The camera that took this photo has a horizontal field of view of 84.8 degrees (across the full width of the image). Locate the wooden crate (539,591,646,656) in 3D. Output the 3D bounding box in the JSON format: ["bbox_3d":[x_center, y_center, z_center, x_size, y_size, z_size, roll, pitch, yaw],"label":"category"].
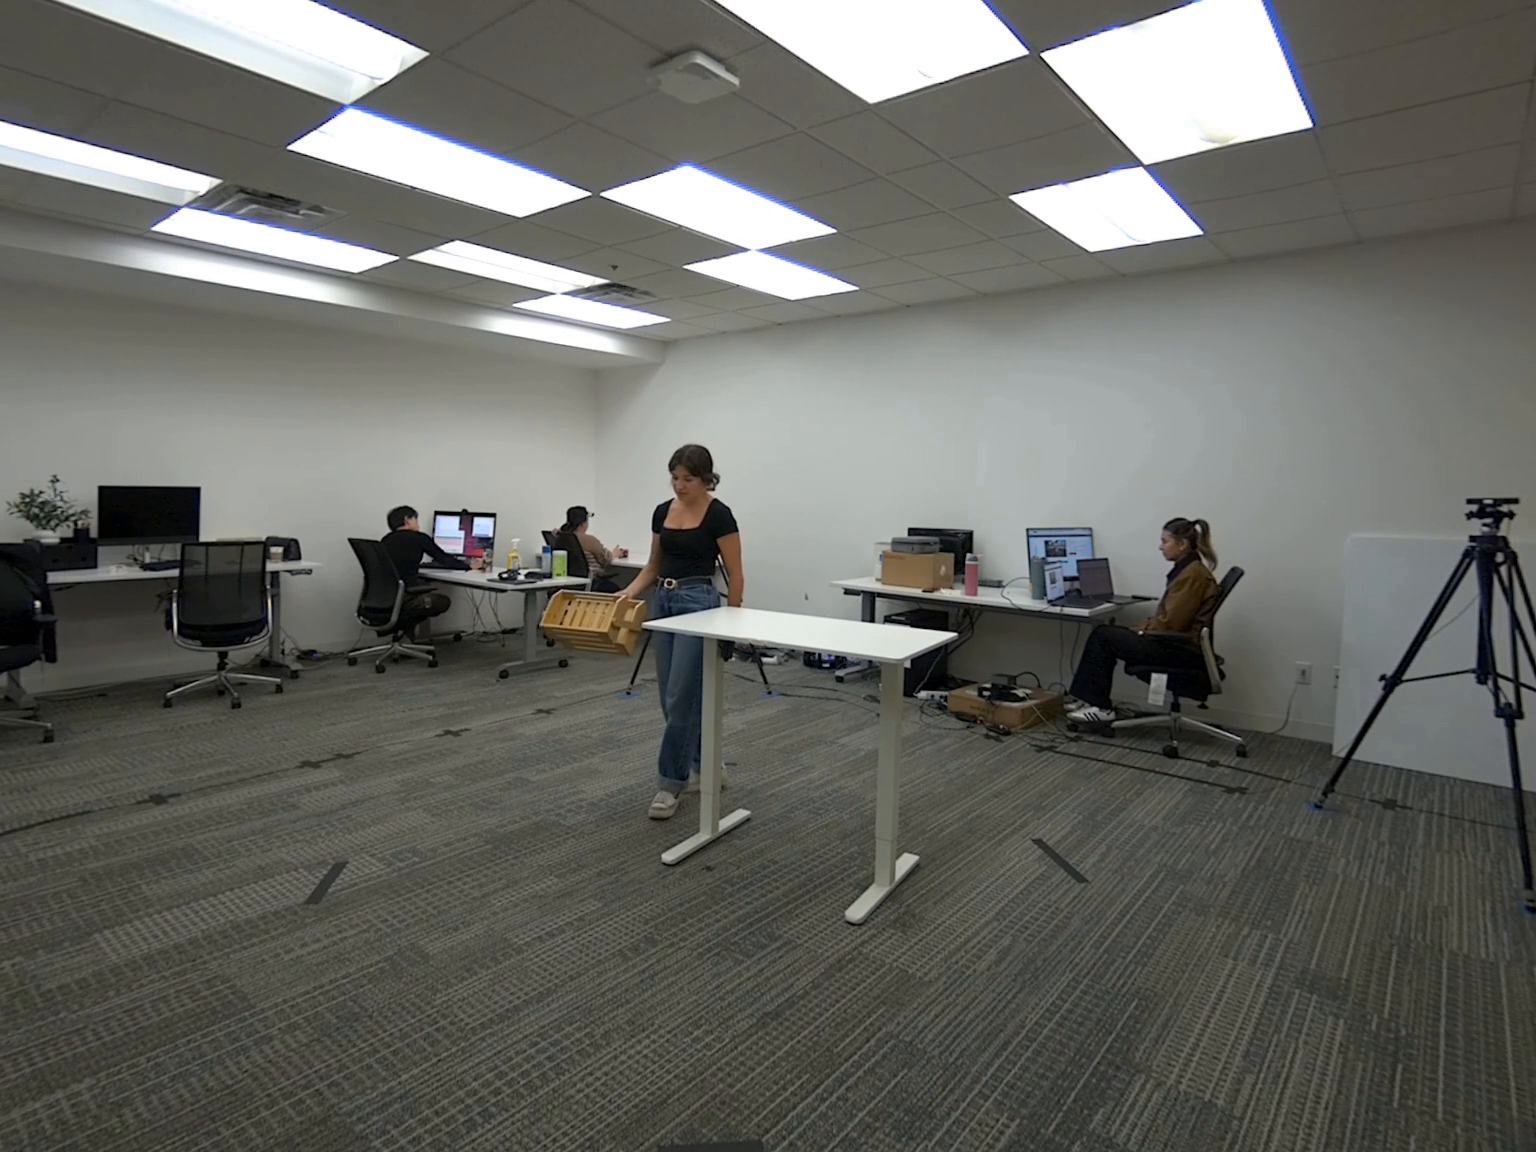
[{"bbox_3d":[-0.744,0.160,3.550,0.331,0.307,0.263,4,-36,17],"label":"wooden crate"}]
